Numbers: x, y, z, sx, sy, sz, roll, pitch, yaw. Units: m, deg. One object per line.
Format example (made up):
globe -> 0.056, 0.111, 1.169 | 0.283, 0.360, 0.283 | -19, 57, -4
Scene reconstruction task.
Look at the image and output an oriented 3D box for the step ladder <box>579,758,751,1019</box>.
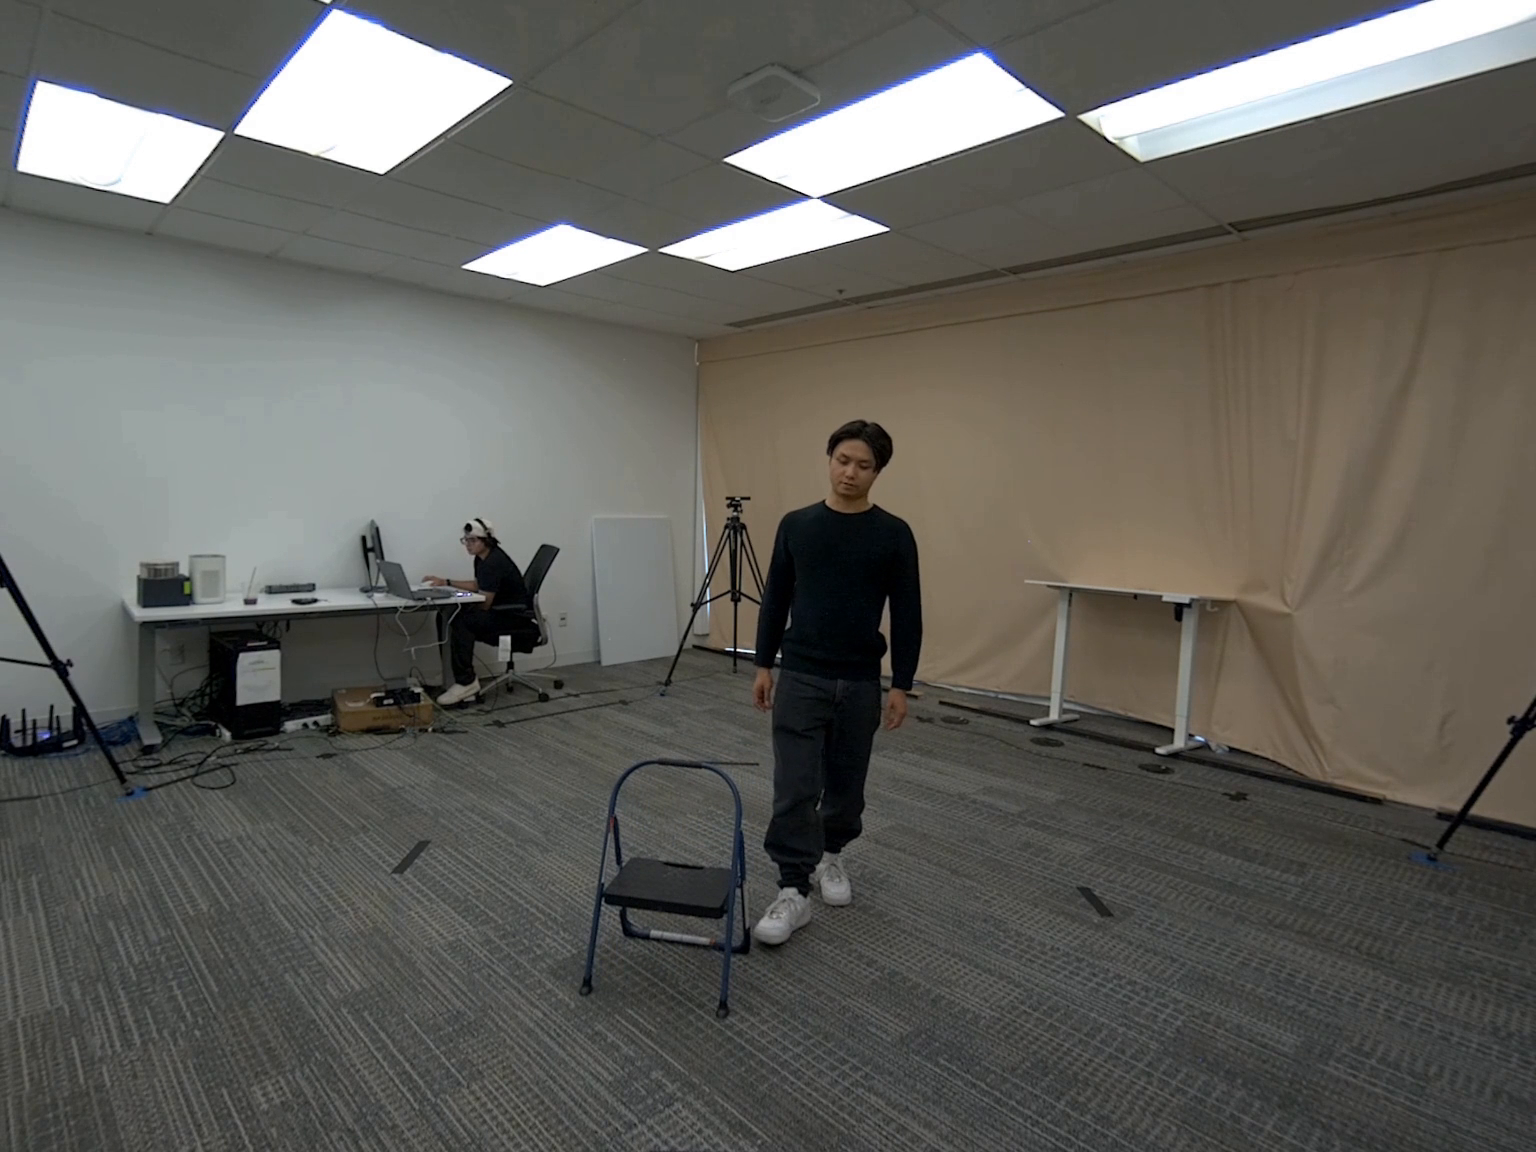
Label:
step ladder -> -0.285, 0.863, 2.451 | 0.435, 0.604, 0.347 | 2, 4, 11
